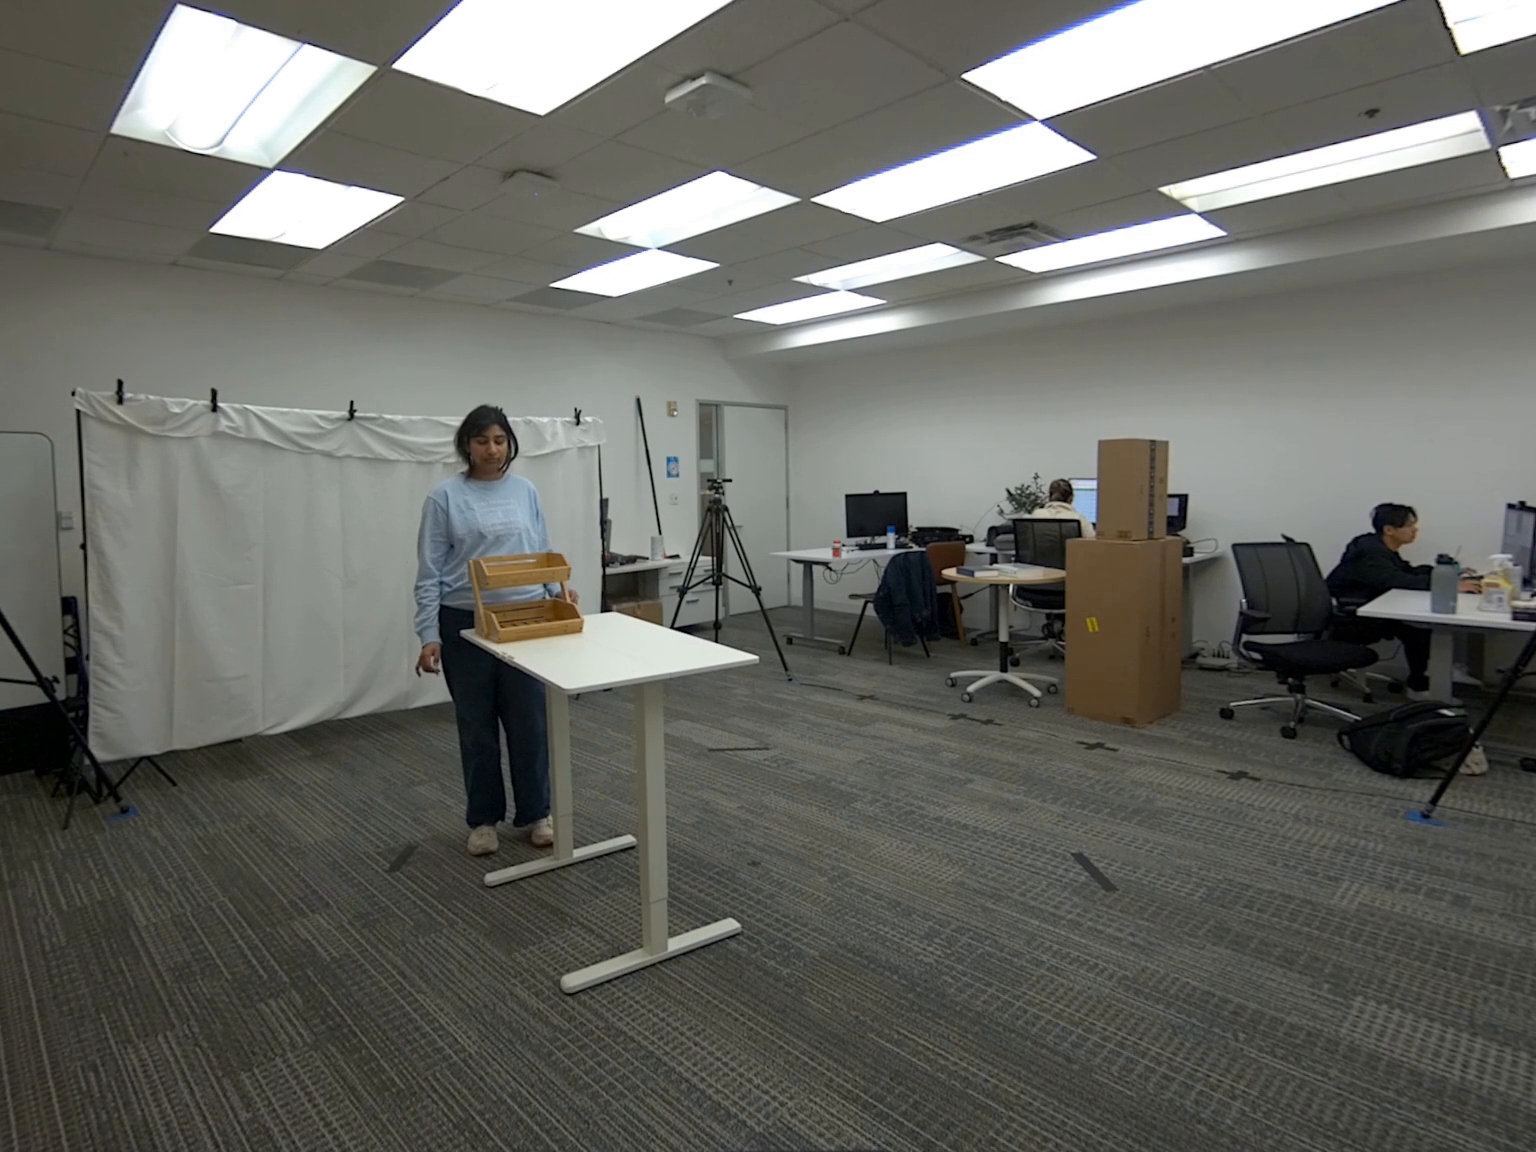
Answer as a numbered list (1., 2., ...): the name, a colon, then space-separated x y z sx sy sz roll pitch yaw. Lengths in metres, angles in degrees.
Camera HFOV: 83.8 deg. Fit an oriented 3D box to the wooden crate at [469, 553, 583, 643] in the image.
1. wooden crate: -0.837 0.063 2.950 0.316 0.272 0.311 -6 6 -34
